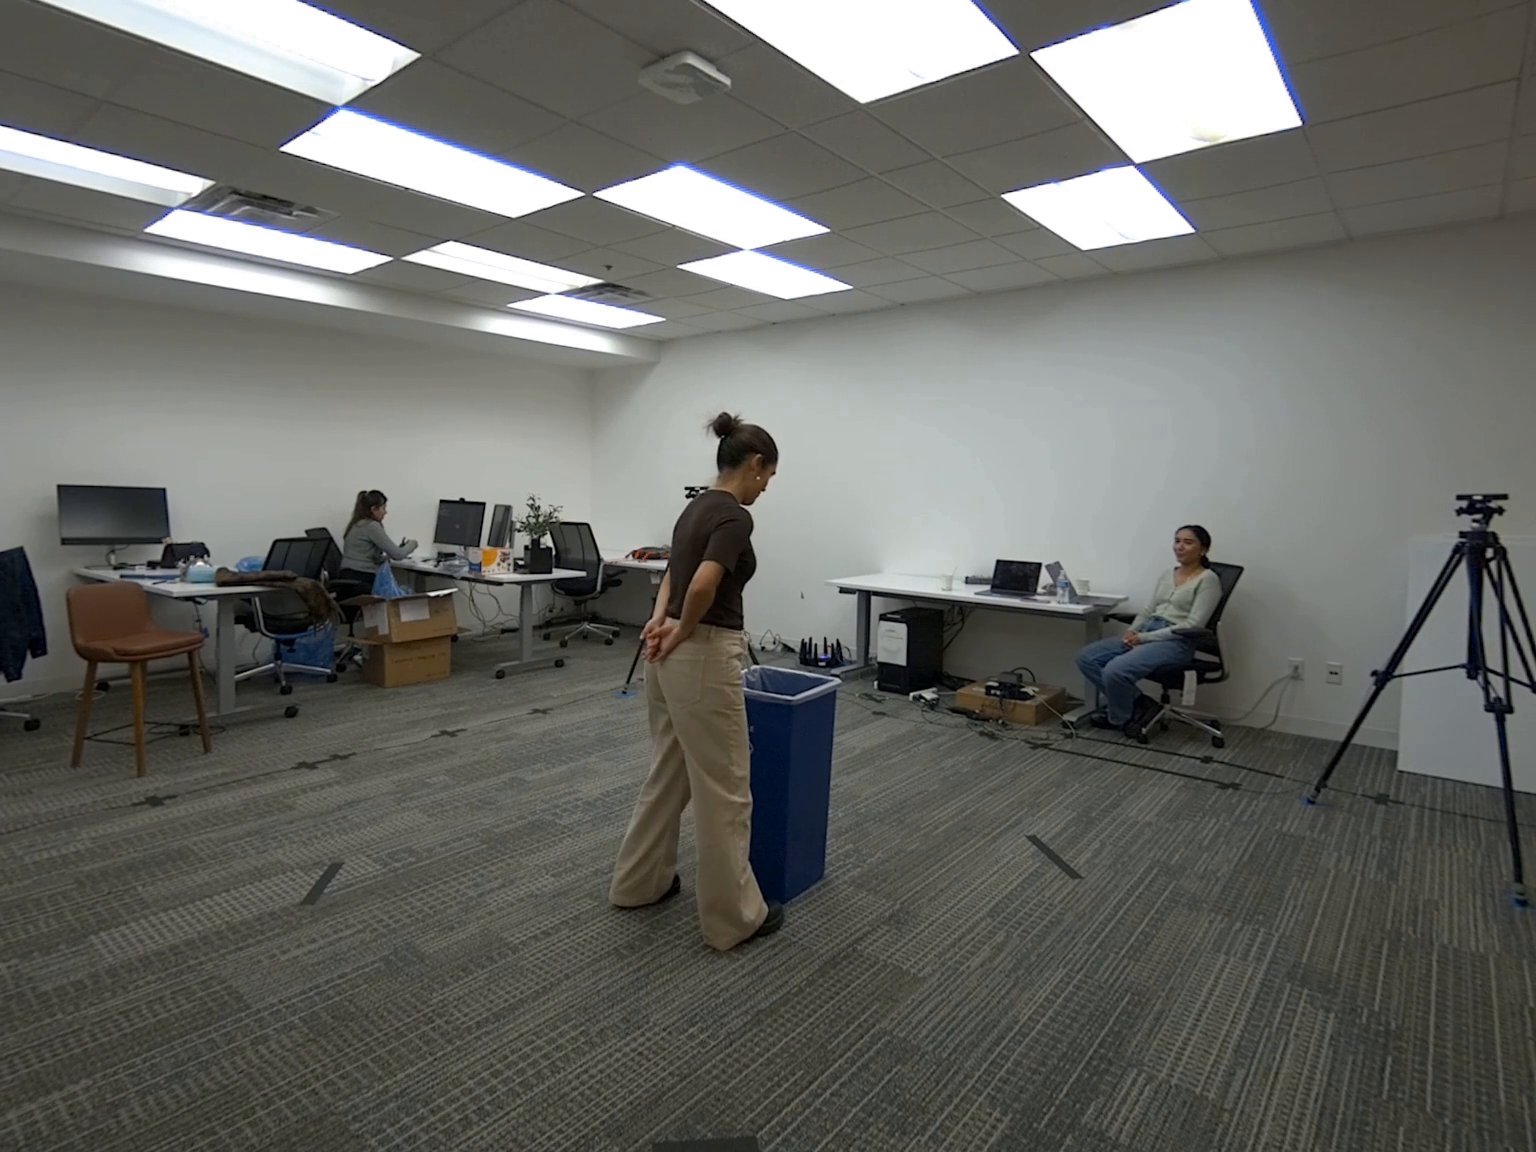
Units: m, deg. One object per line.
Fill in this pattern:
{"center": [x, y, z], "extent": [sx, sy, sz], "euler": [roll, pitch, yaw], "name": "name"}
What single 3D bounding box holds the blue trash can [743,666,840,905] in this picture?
{"center": [0.006, 0.719, 3.008], "extent": [0.390, 0.711, 0.364], "euler": [4, 4, 33], "name": "blue trash can"}
